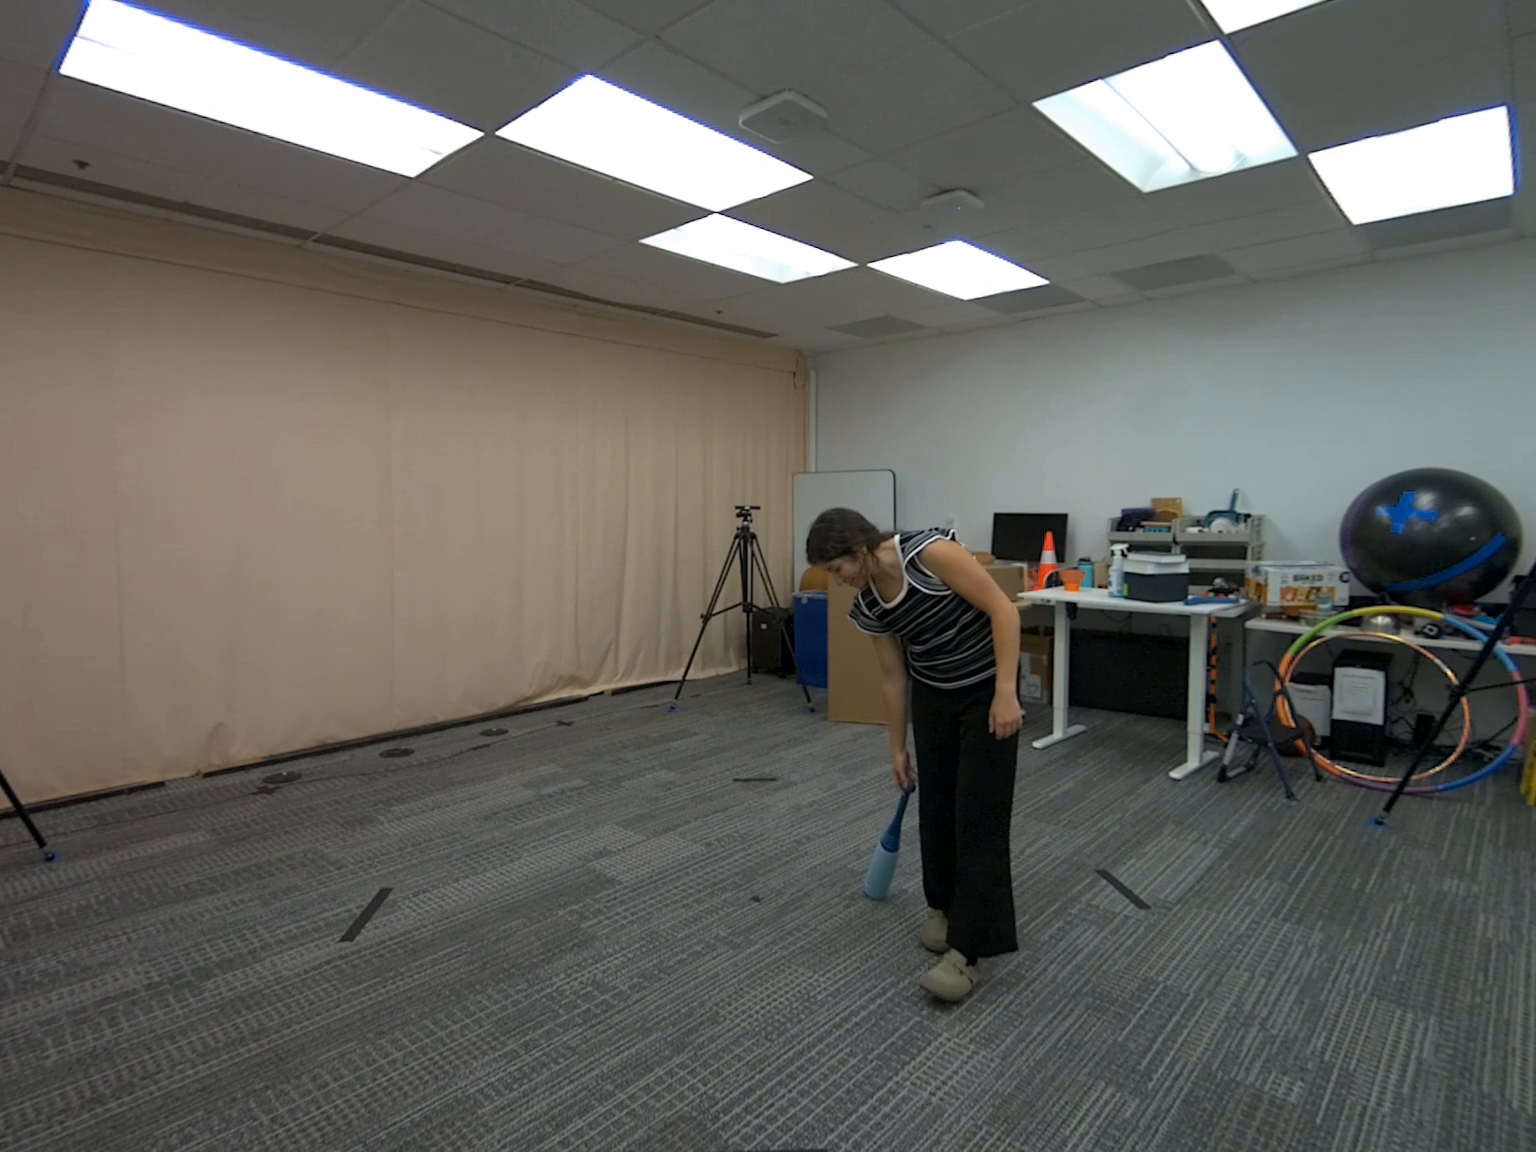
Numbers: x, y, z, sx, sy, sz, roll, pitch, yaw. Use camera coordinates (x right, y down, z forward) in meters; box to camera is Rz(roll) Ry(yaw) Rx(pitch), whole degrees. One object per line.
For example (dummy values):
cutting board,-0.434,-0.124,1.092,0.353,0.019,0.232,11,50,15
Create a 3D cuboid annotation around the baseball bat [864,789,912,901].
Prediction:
baseball bat,0.430,0.909,2.862,0.088,0.536,0.090,7,32,-6
